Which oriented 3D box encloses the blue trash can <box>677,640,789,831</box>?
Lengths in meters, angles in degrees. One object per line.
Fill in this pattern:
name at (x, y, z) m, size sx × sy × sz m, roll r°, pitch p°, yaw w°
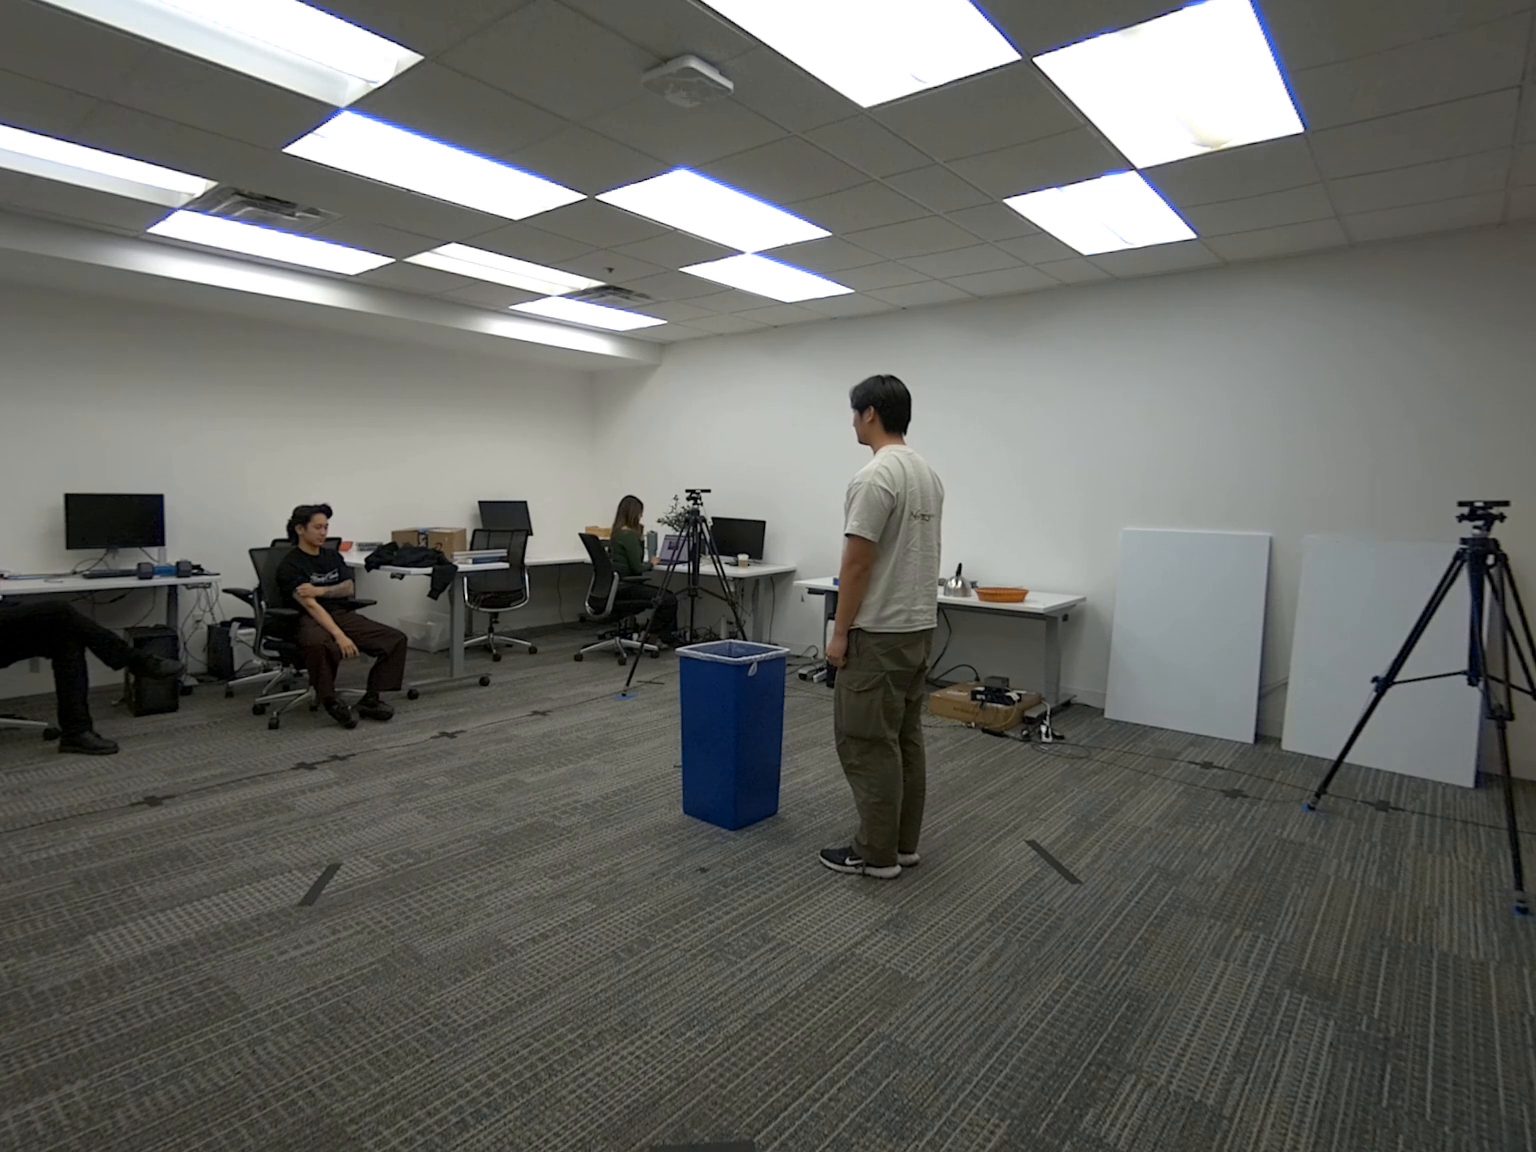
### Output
blue trash can at (-0.174, 0.665, 3.665) m, size 0.387 × 0.712 × 0.366 m, roll 4°, pitch 4°, yaw 40°
